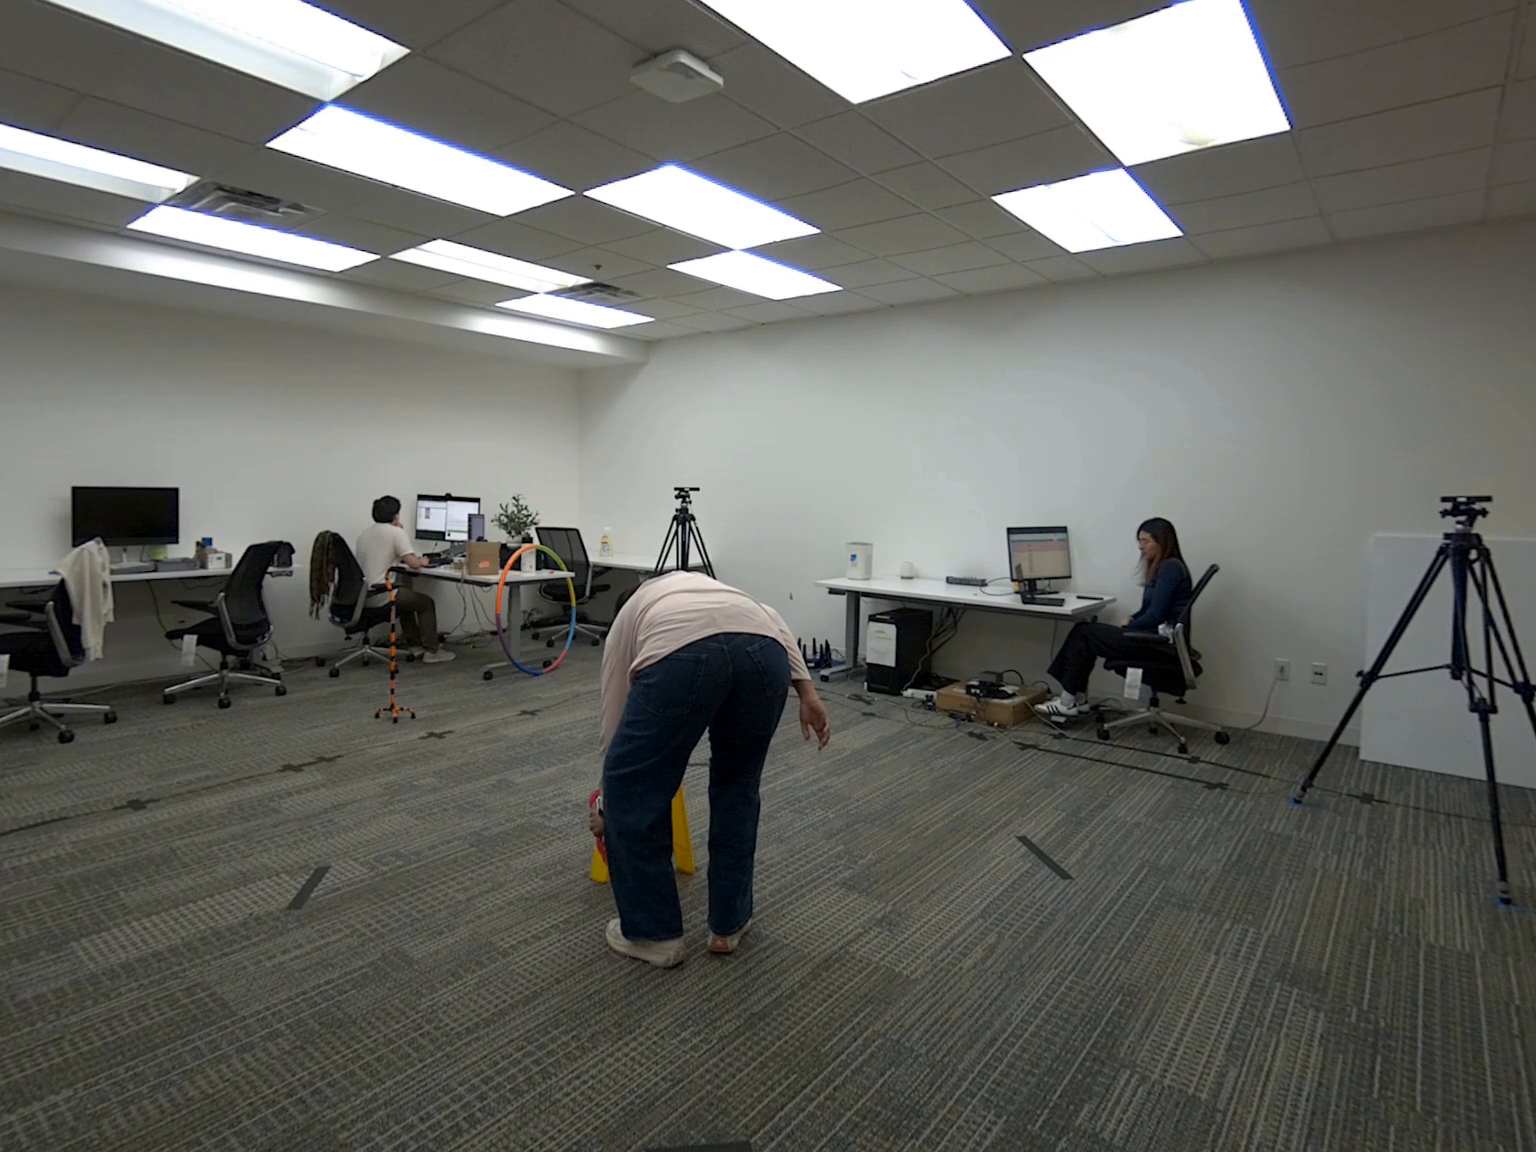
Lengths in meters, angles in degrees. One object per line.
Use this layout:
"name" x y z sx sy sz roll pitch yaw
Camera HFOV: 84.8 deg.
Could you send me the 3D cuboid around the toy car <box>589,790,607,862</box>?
"toy car" -0.533 0.846 2.882 0.131 0.264 0.080 -22 -39 8
